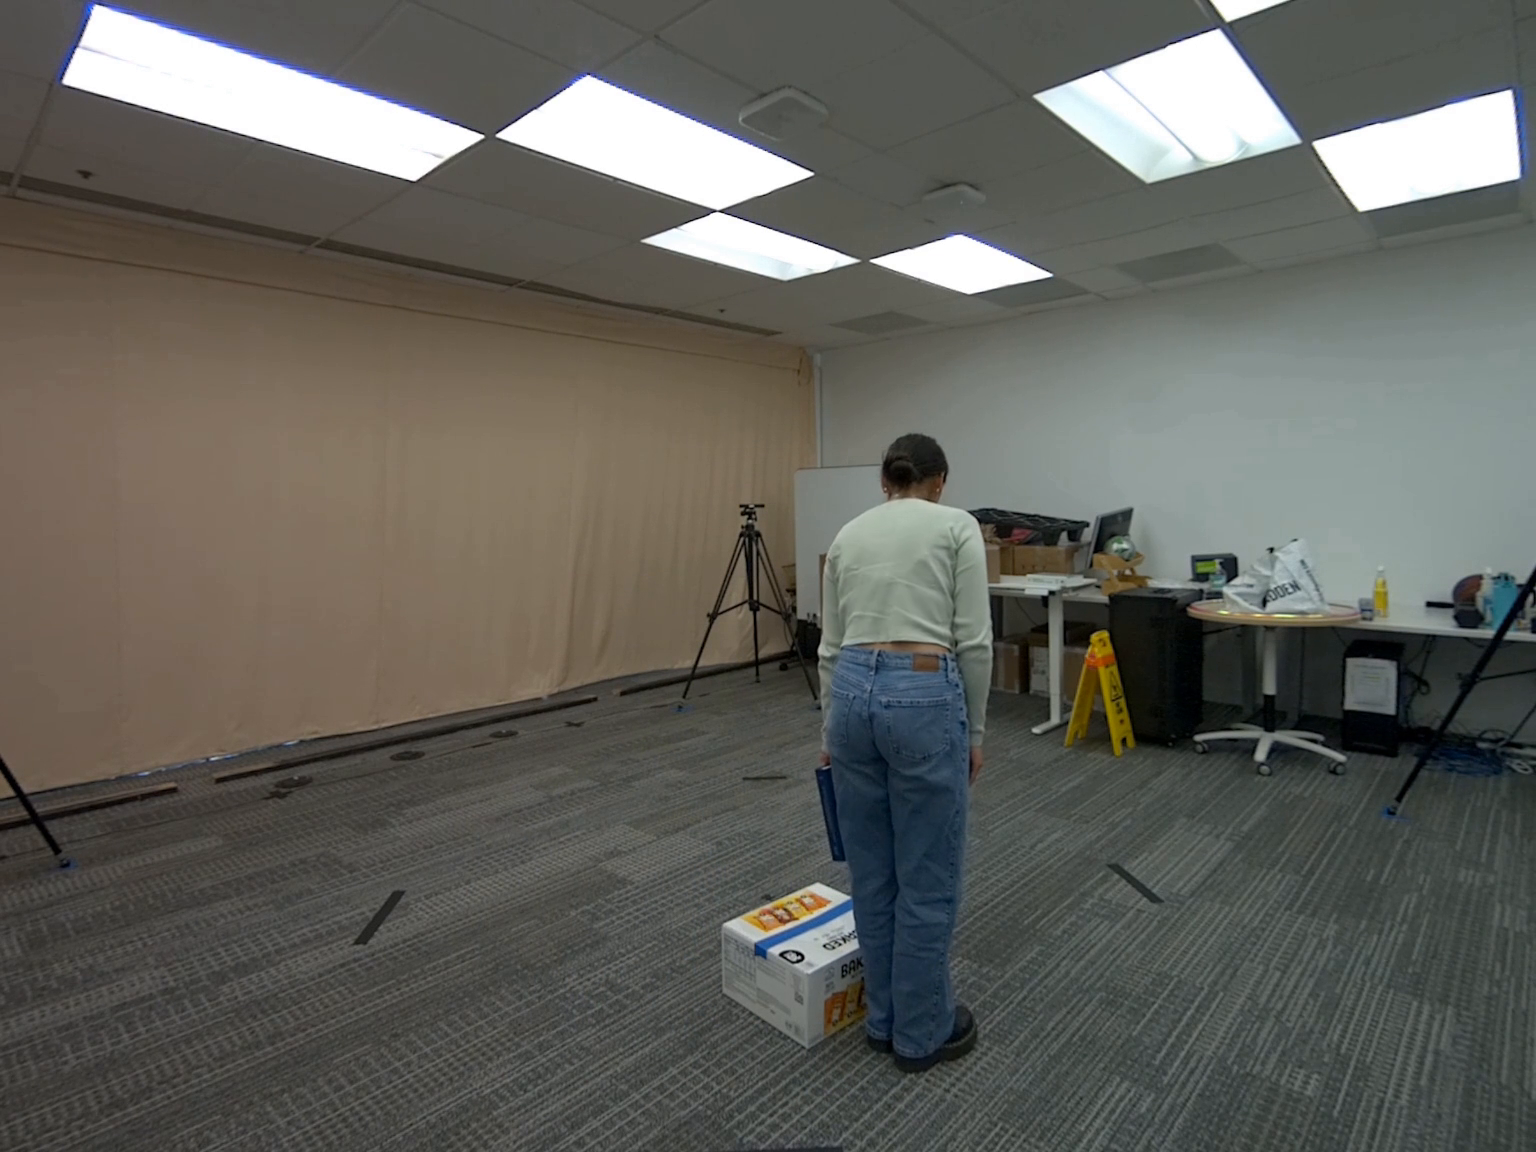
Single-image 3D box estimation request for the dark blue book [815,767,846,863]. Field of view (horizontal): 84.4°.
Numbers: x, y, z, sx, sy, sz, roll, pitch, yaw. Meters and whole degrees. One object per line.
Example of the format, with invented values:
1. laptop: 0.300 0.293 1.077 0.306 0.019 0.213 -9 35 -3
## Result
1. dark blue book: 0.225 0.638 2.301 0.046 0.246 0.158 -17 -8 42
